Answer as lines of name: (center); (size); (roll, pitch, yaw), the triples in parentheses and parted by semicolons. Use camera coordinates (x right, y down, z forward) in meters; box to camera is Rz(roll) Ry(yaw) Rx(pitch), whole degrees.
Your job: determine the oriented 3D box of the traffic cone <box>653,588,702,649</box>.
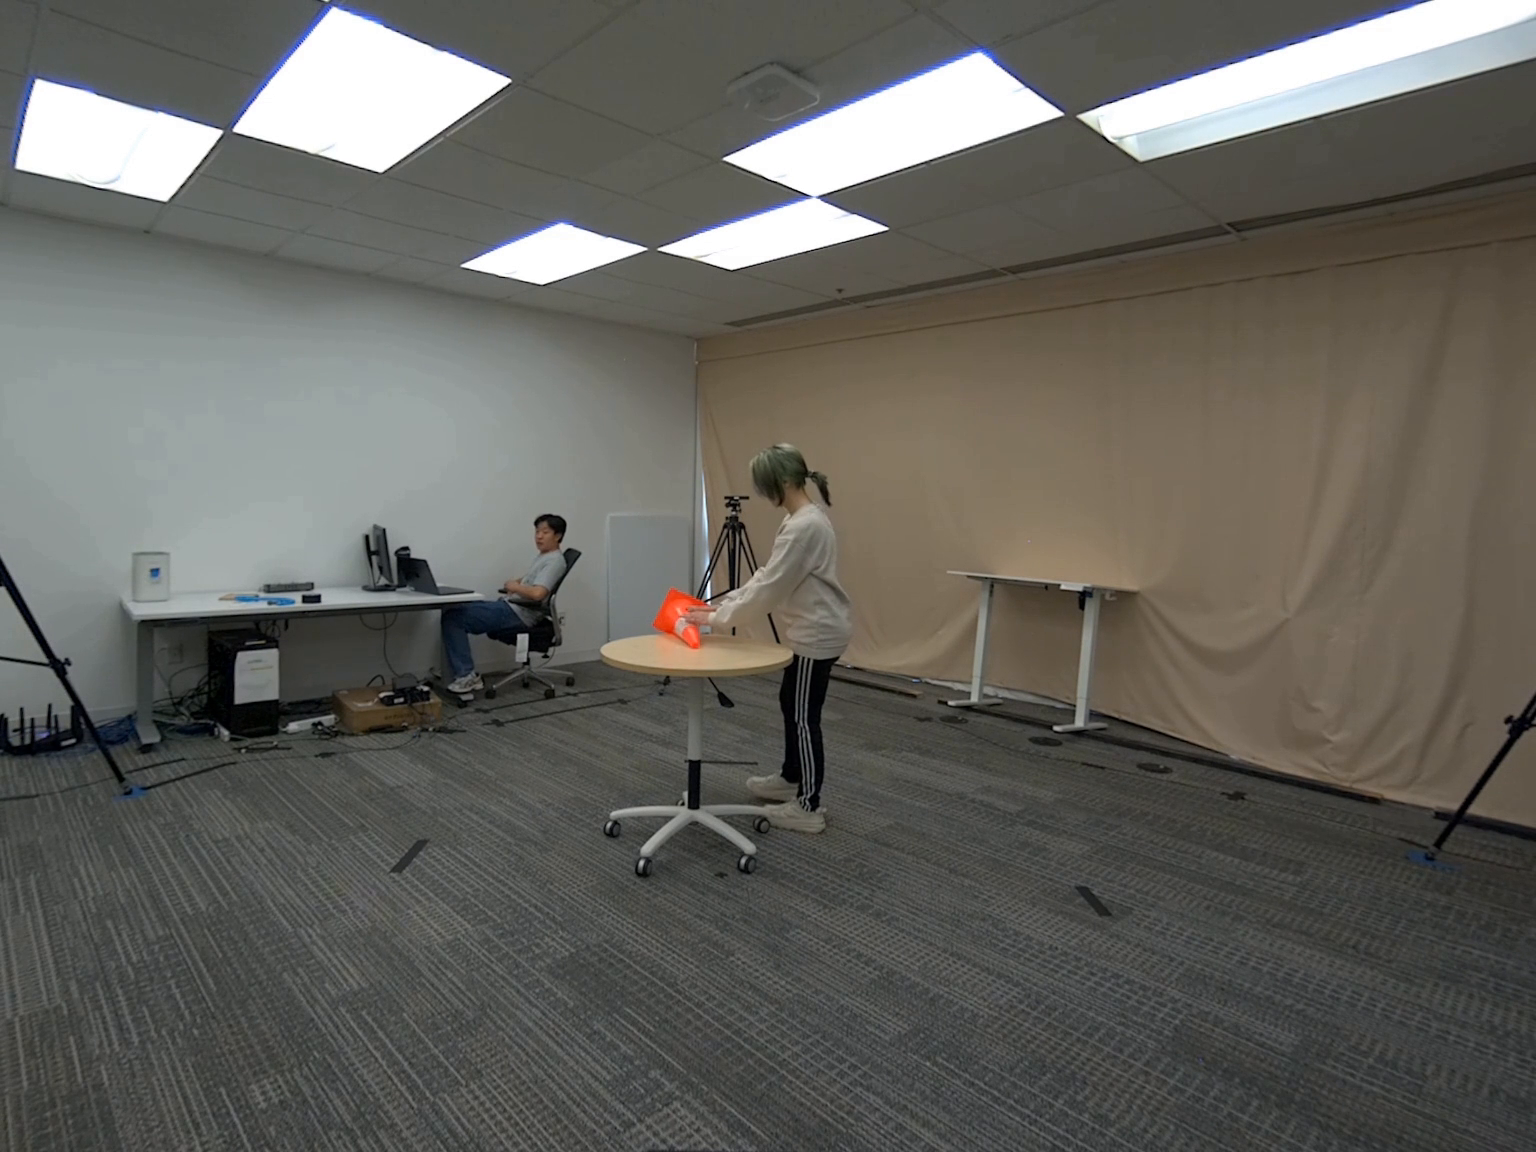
traffic cone: (-0.346, 0.231, 3.557); (0.201, 0.202, 0.391); (19, 11, -18)
